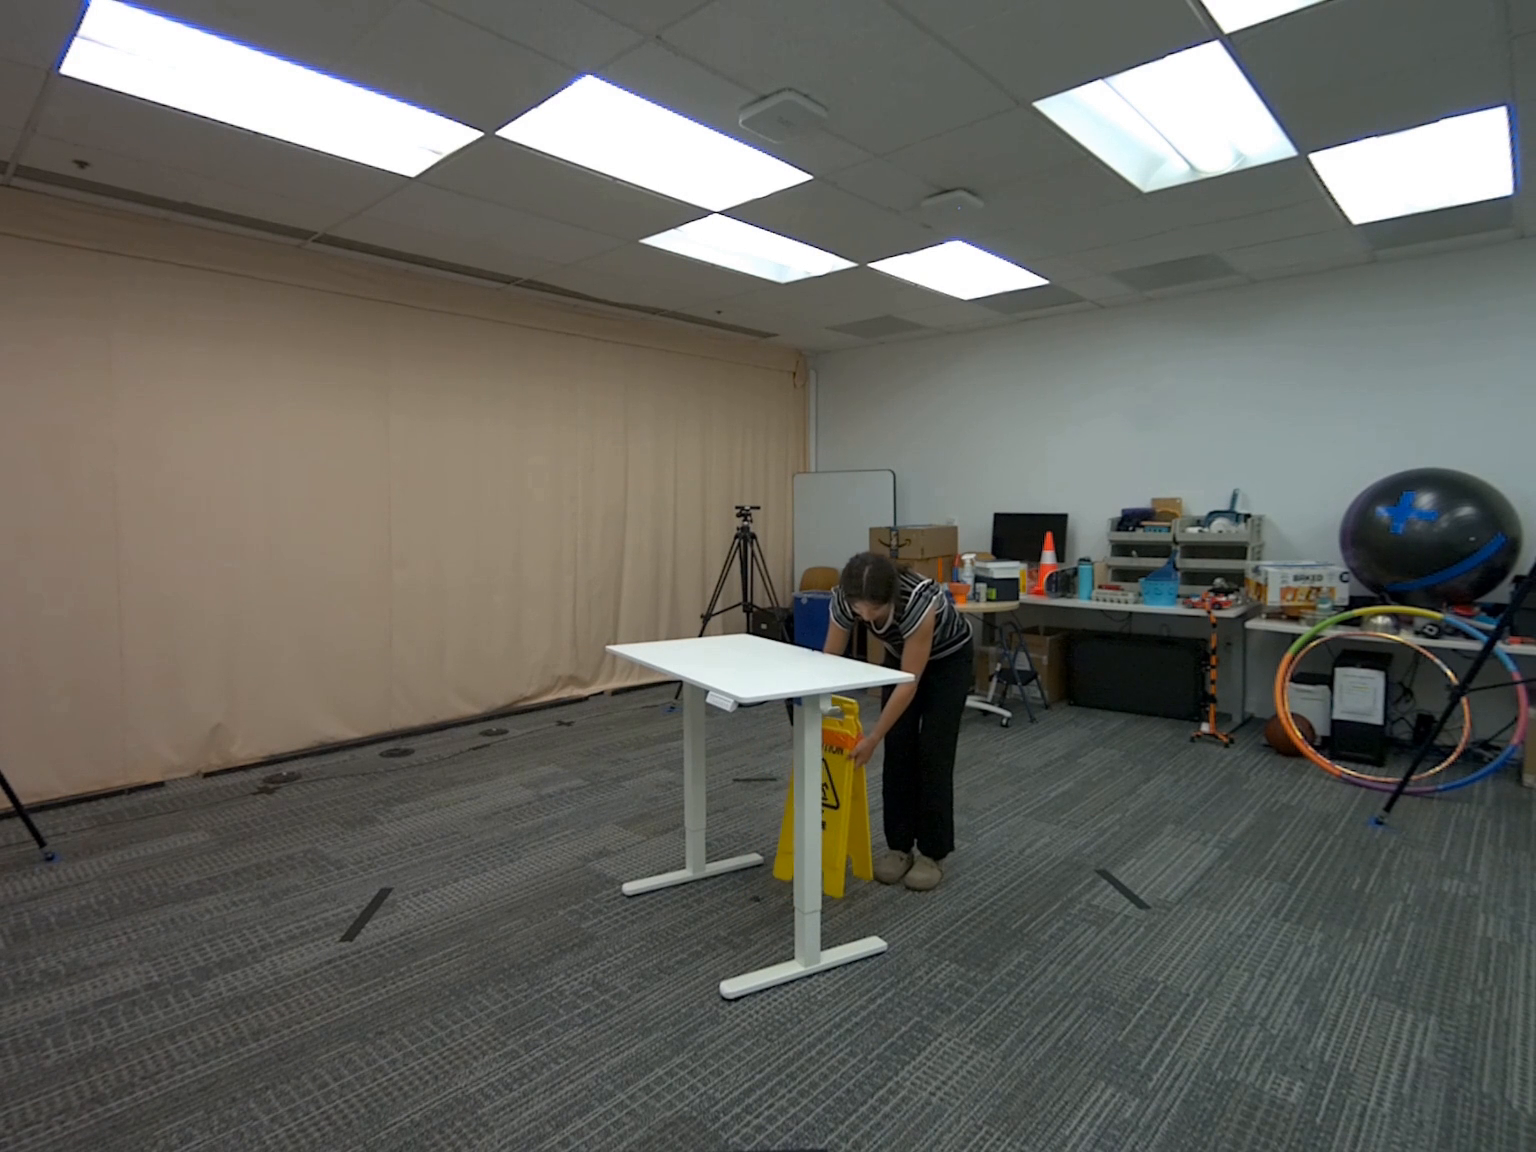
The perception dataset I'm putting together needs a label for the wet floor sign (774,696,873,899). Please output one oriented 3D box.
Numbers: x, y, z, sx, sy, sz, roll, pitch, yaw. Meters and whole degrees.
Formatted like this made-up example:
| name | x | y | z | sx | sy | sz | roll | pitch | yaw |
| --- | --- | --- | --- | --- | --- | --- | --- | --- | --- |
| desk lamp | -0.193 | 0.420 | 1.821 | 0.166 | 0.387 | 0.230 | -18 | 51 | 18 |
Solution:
| name | x | y | z | sx | sy | sz | roll | pitch | yaw |
| --- | --- | --- | --- | --- | --- | --- | --- | --- | --- |
| wet floor sign | 0.223 | 0.752 | 3.002 | 0.291 | 0.646 | 0.280 | 3 | 1 | 38 |
